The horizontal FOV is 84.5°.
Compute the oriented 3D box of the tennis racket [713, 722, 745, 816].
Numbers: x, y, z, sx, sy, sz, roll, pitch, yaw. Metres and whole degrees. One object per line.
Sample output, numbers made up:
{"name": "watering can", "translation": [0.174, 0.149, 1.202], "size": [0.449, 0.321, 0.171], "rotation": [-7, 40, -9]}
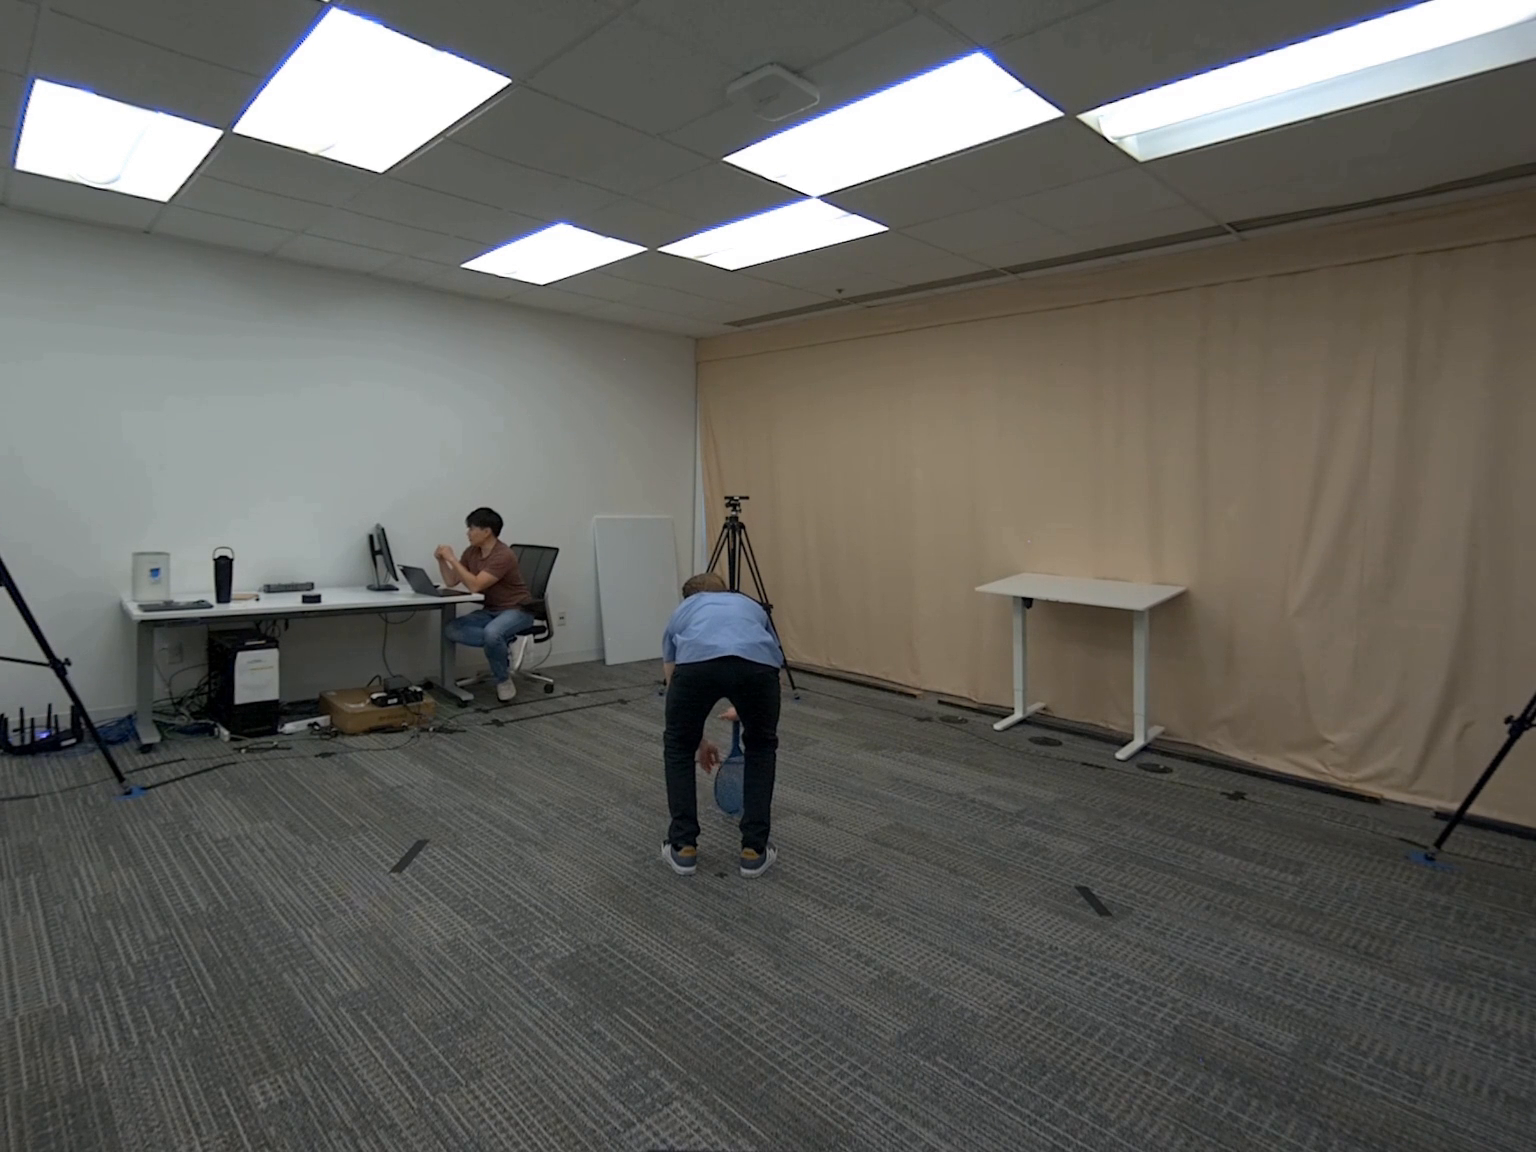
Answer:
{"name": "tennis racket", "translation": [-0.155, 0.835, 3.712], "size": [0.209, 0.431, 0.032], "rotation": [-3, 6, -34]}
